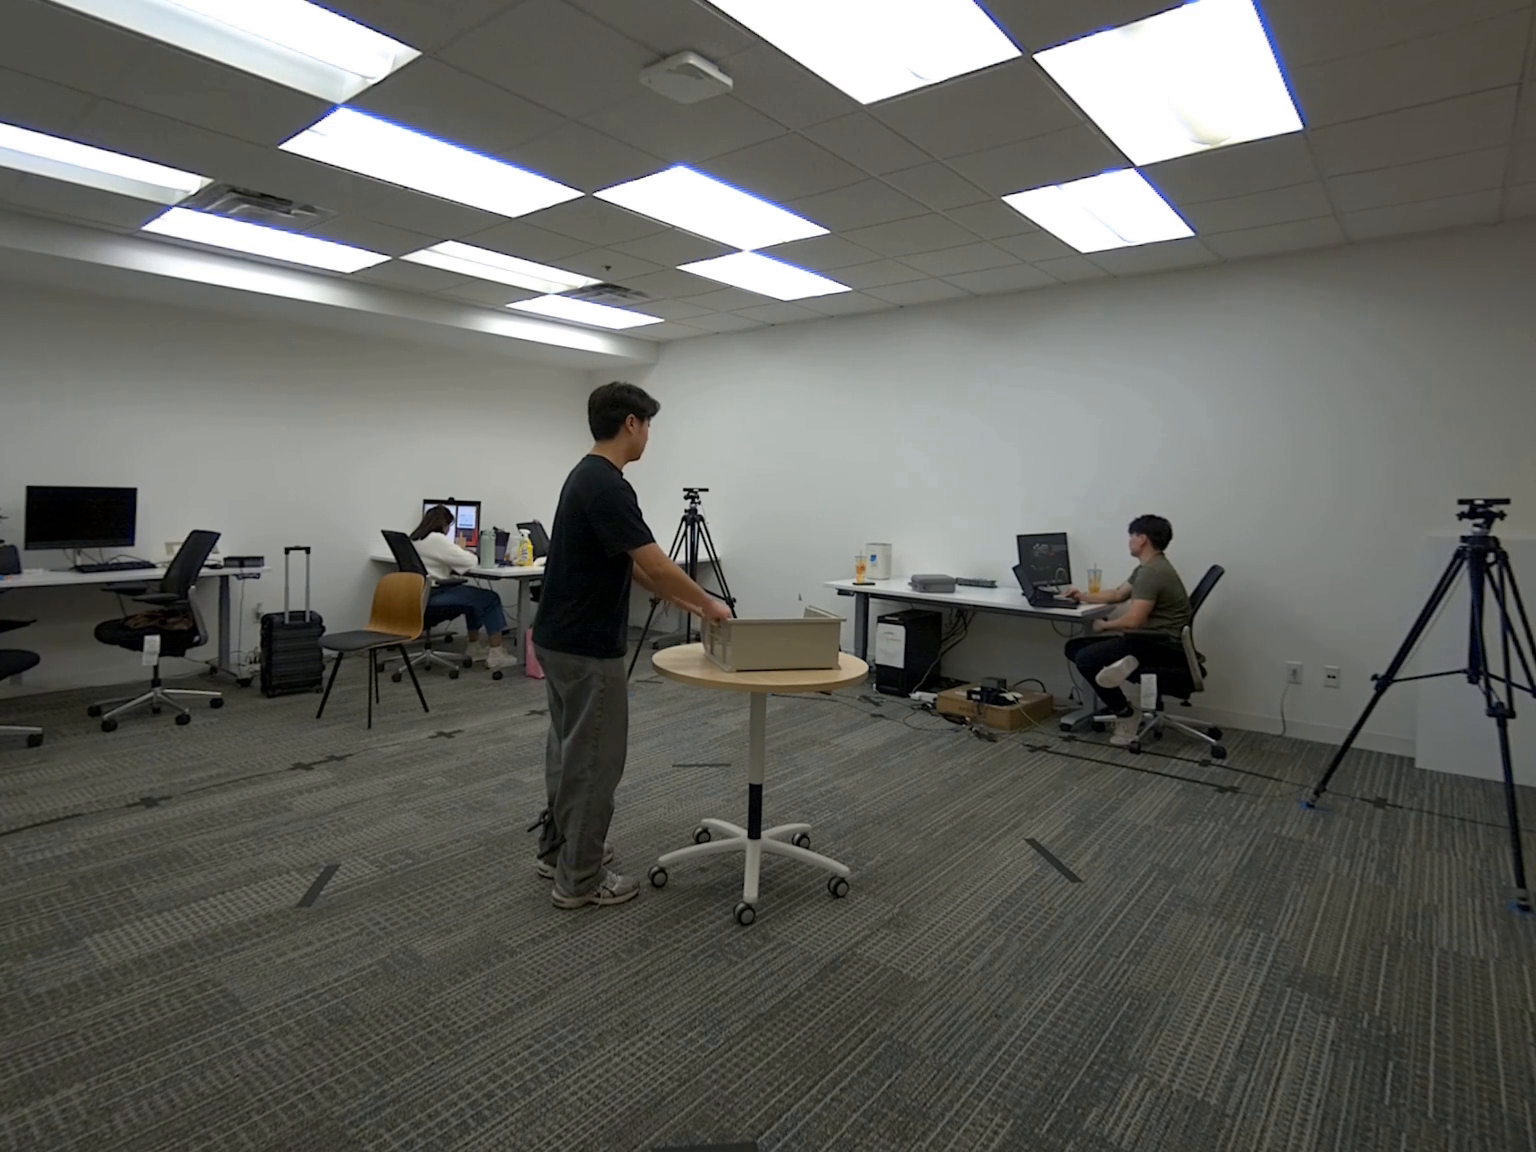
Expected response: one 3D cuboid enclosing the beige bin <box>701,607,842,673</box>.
[{"bbox_3d":[-0.003,0.211,3.021,0.415,0.188,0.385,1,6,-17],"label":"beige bin"}]
